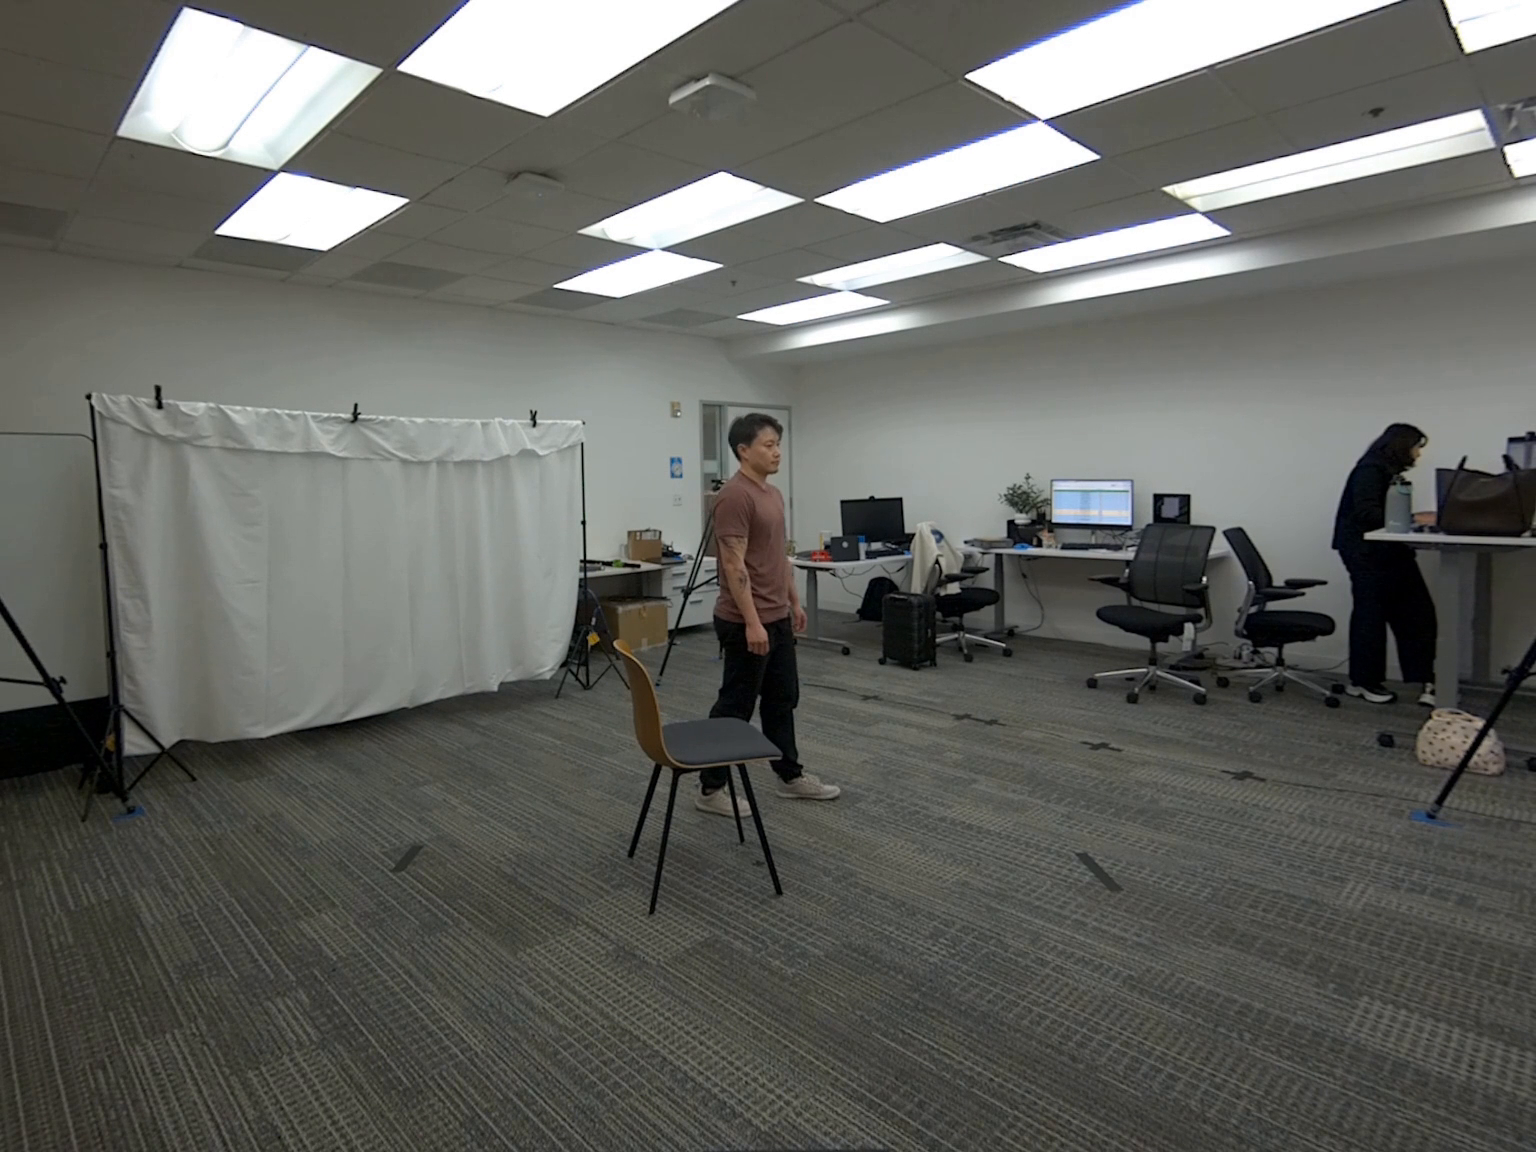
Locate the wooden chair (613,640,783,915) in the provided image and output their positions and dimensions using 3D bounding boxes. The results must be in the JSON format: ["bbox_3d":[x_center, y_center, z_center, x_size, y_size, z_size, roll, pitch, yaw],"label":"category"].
[{"bbox_3d":[-0.239,0.637,2.998,0.516,0.873,0.487,-6,5,-17],"label":"wooden chair"}]
